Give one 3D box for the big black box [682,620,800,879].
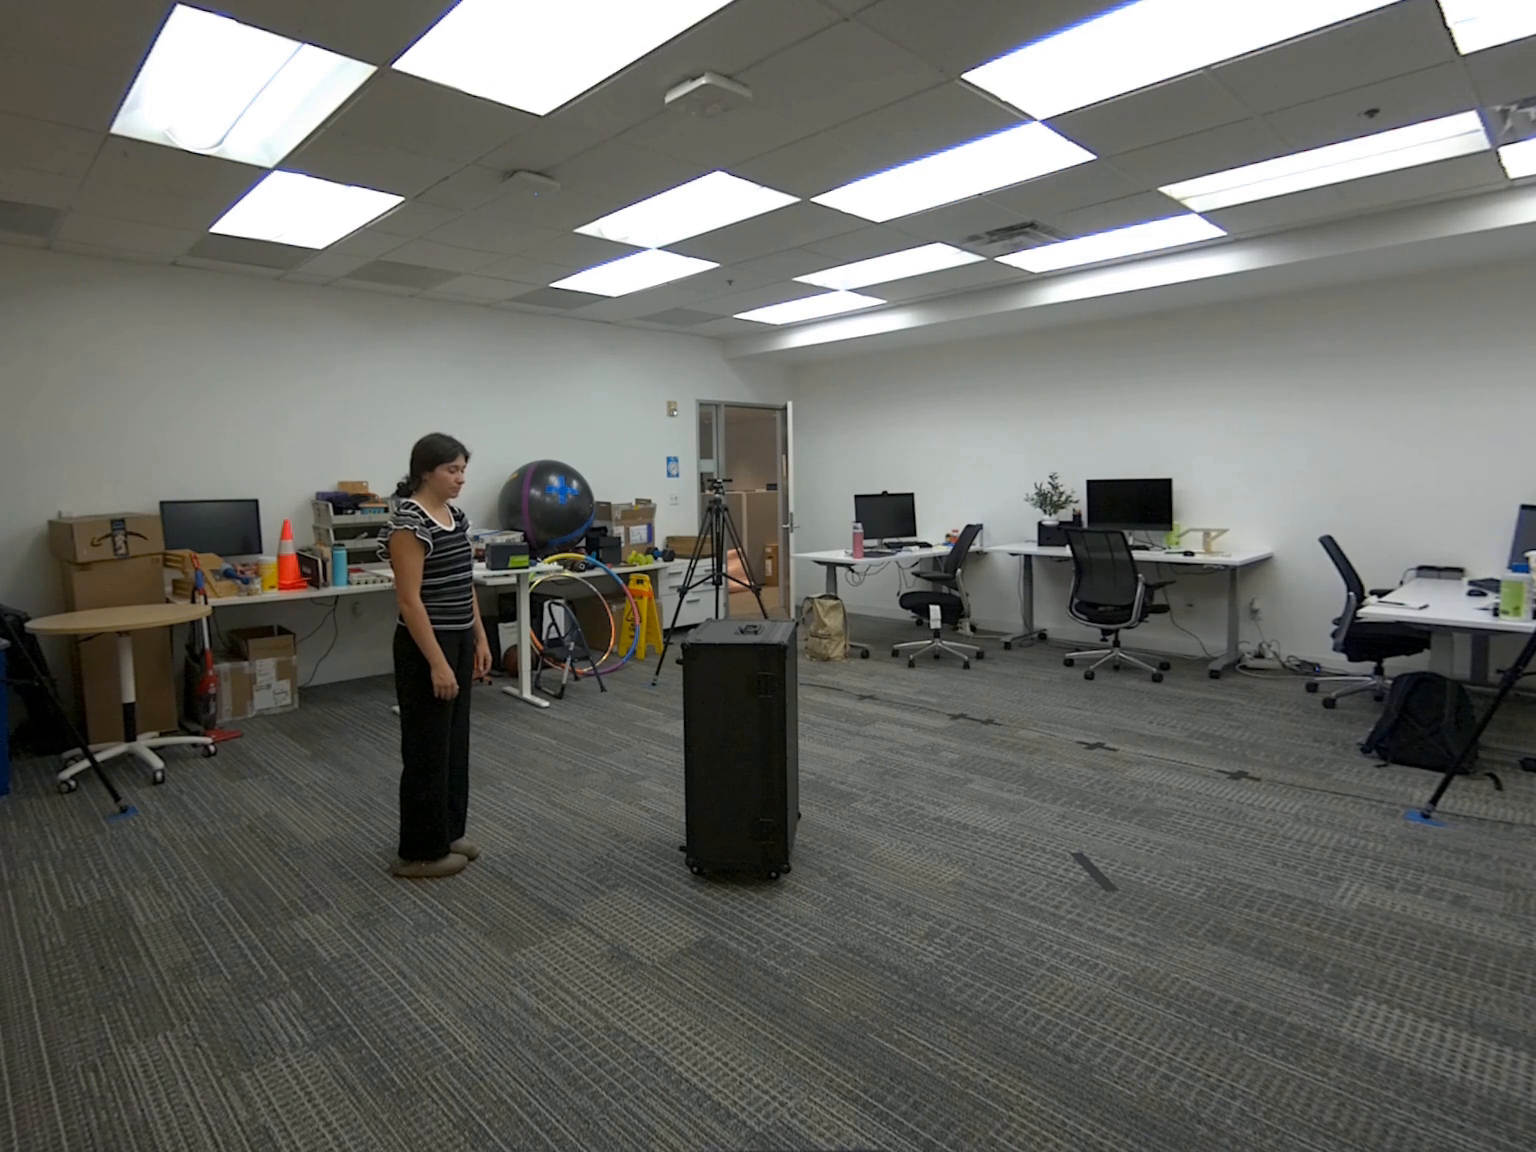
[{"bbox_3d":[-0.096,0.613,3.105,0.400,0.858,0.519,0,5,8],"label":"big black box"}]
